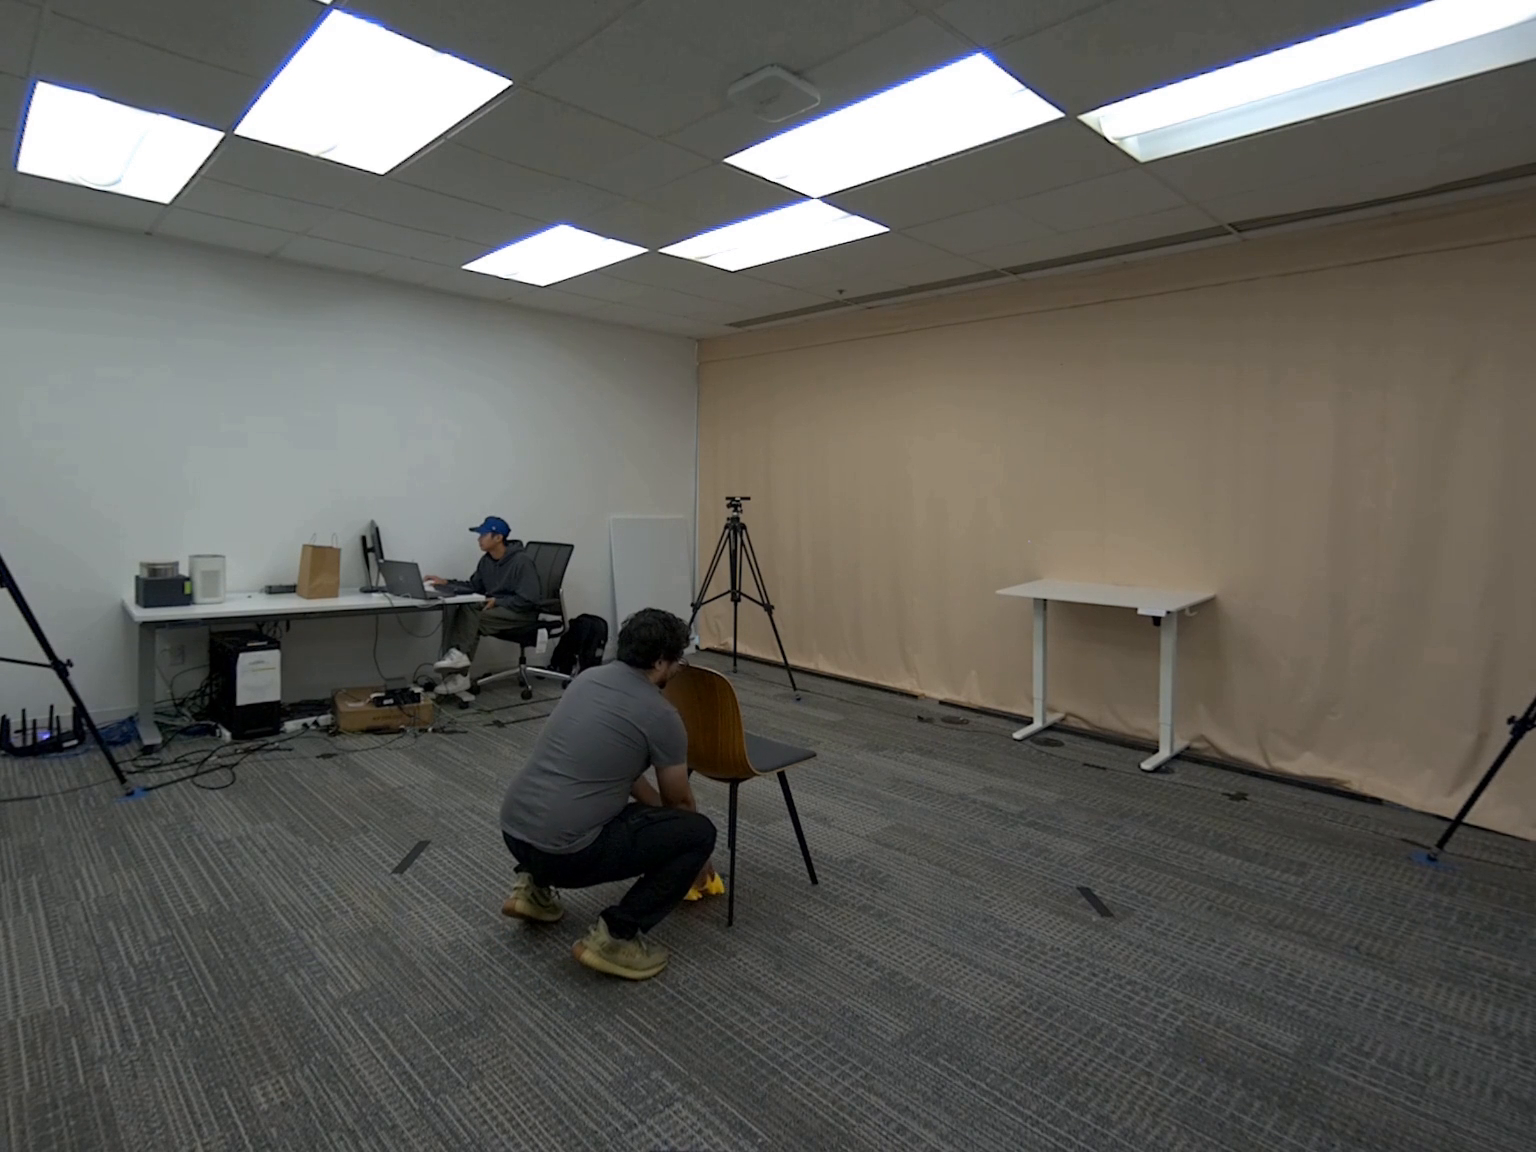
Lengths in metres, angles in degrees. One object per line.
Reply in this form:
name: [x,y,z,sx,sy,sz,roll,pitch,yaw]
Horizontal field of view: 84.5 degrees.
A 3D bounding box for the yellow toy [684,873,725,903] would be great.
yellow toy: [-0.266,0.979,2.923,0.197,0.232,0.199,-7,-9,44]
